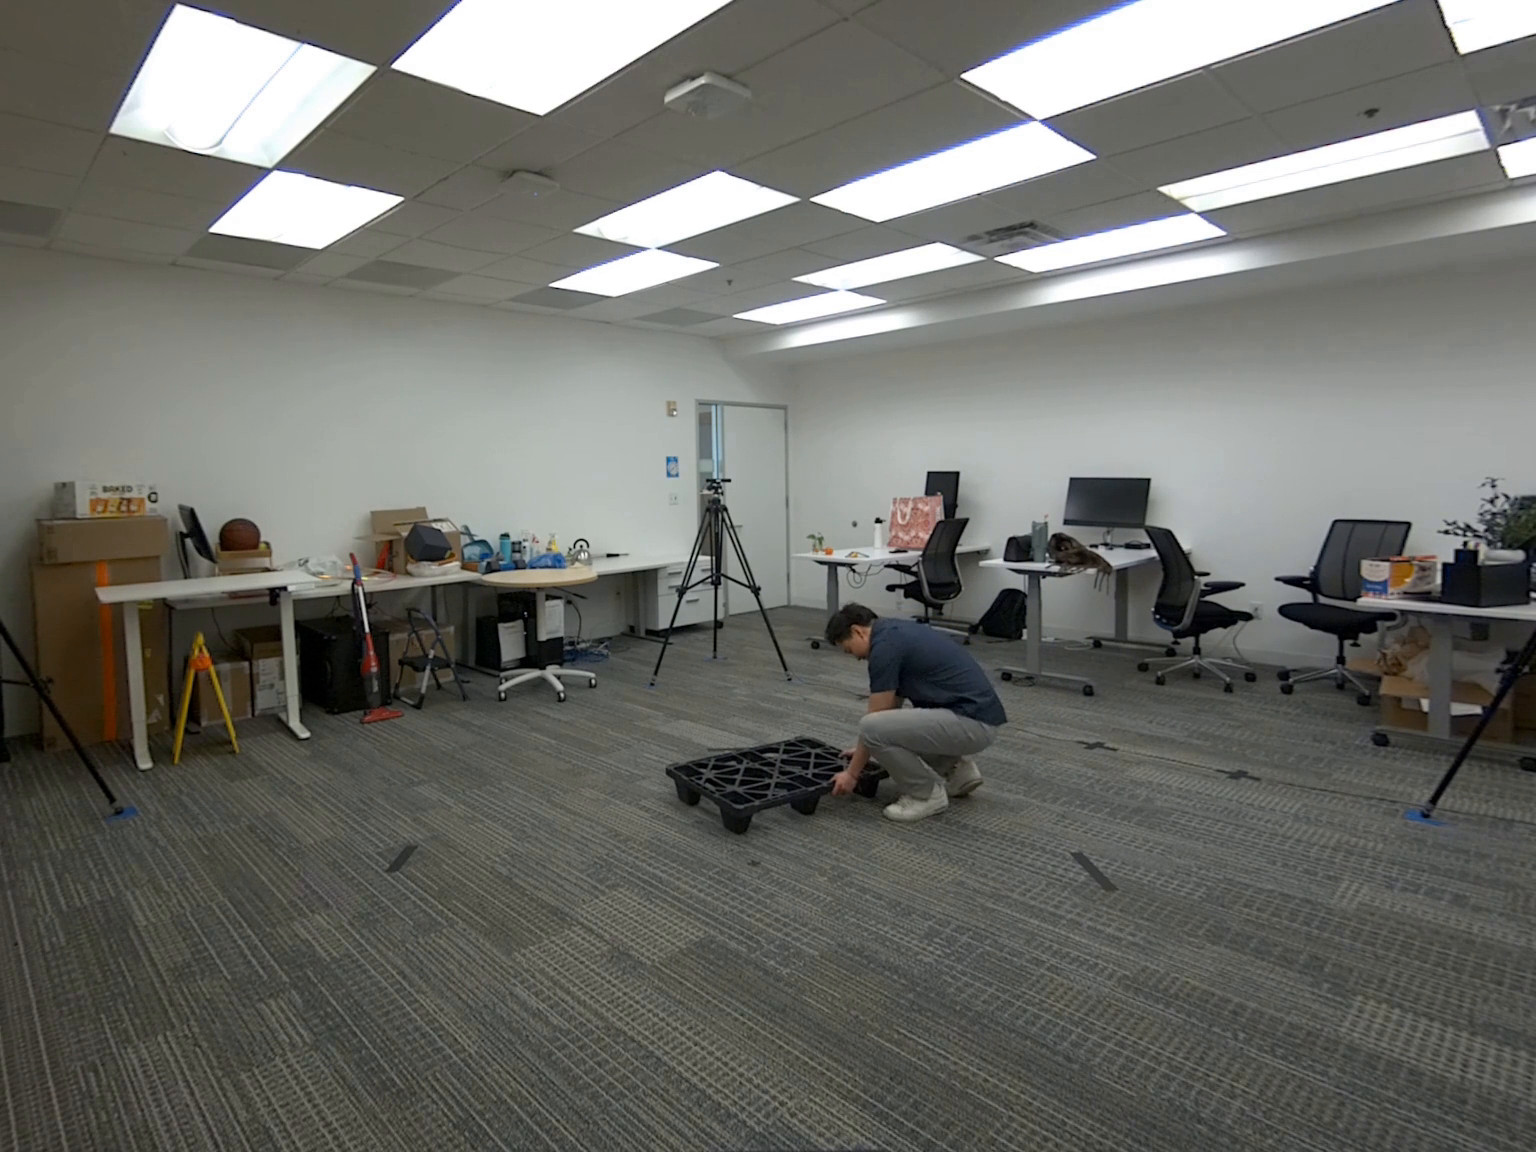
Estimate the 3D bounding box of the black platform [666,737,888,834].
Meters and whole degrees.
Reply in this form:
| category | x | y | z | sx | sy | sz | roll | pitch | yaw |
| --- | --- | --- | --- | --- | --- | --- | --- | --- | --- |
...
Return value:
| category | x | y | z | sx | sy | sz | roll | pitch | yaw |
| --- | --- | --- | --- | --- | --- | --- | --- | --- | --- |
| black platform | 0.034 | 0.903 | 3.747 | 0.785 | 0.143 | 0.623 | -5 | 7 | -34 |
